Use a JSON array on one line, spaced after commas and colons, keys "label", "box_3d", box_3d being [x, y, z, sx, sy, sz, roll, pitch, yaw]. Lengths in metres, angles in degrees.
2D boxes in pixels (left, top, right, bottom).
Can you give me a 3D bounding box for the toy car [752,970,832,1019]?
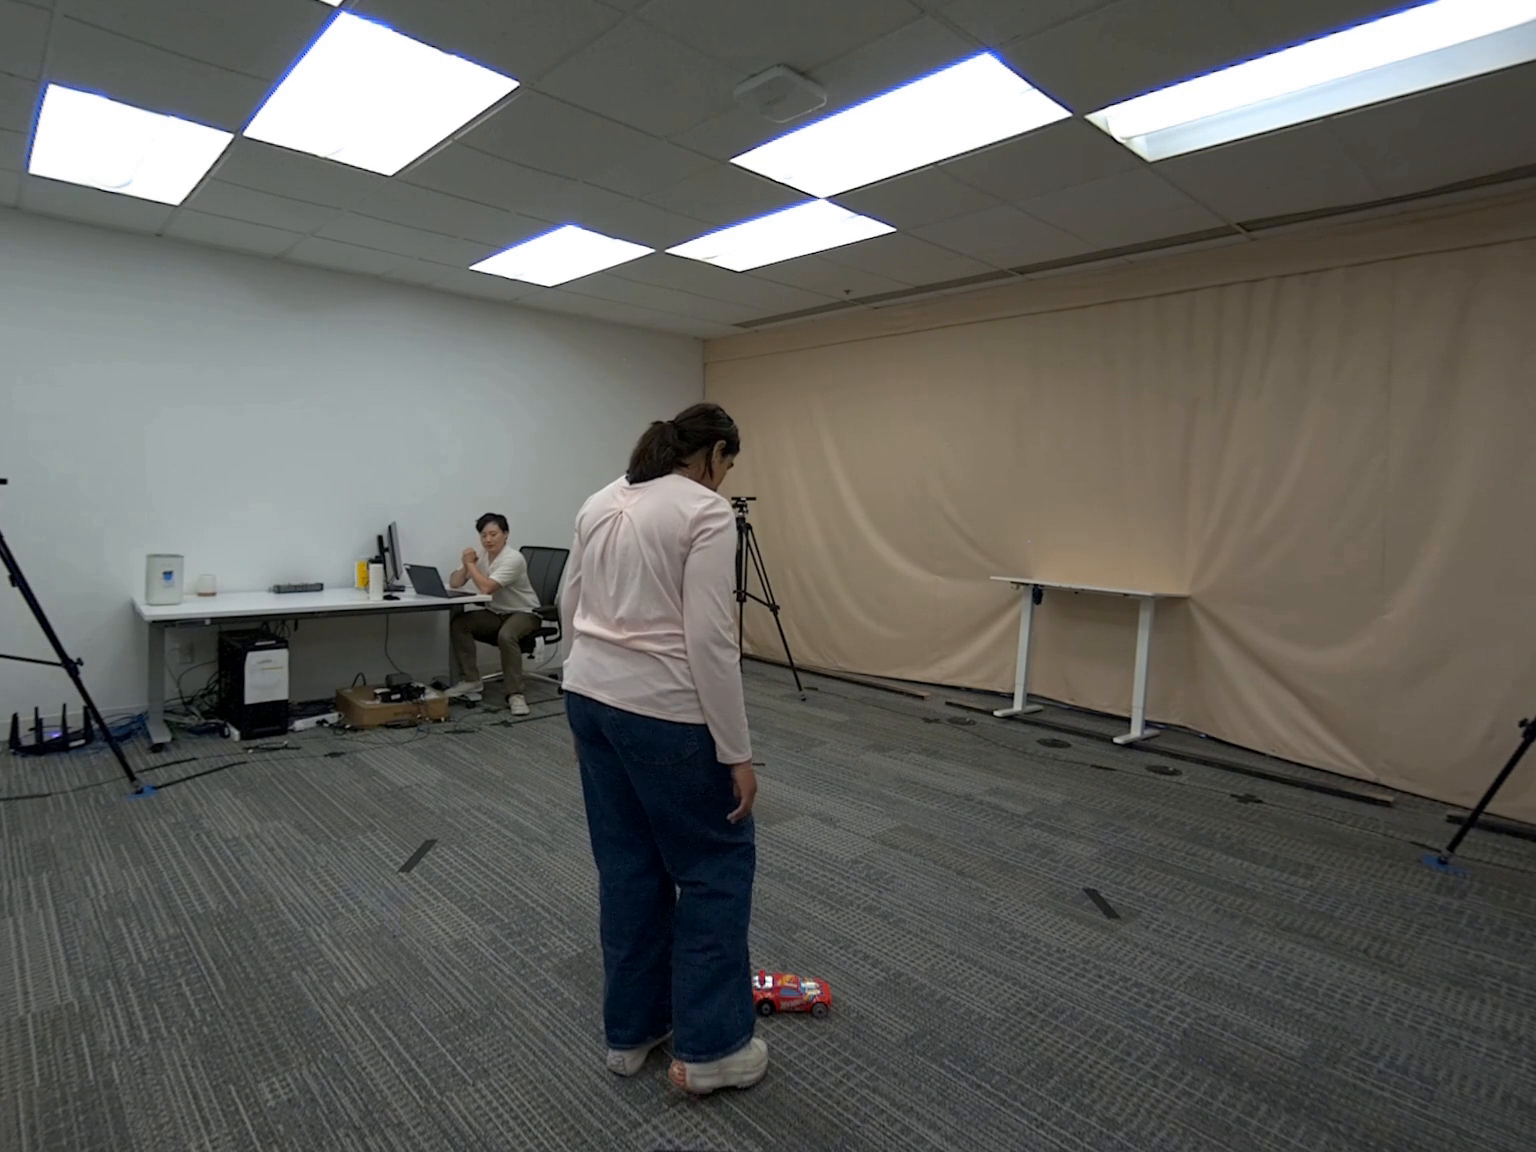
[{"label": "toy car", "box_3d": [0.039, 1.156, 2.312, 0.254, 0.083, 0.130, 12, 4, 0]}]
